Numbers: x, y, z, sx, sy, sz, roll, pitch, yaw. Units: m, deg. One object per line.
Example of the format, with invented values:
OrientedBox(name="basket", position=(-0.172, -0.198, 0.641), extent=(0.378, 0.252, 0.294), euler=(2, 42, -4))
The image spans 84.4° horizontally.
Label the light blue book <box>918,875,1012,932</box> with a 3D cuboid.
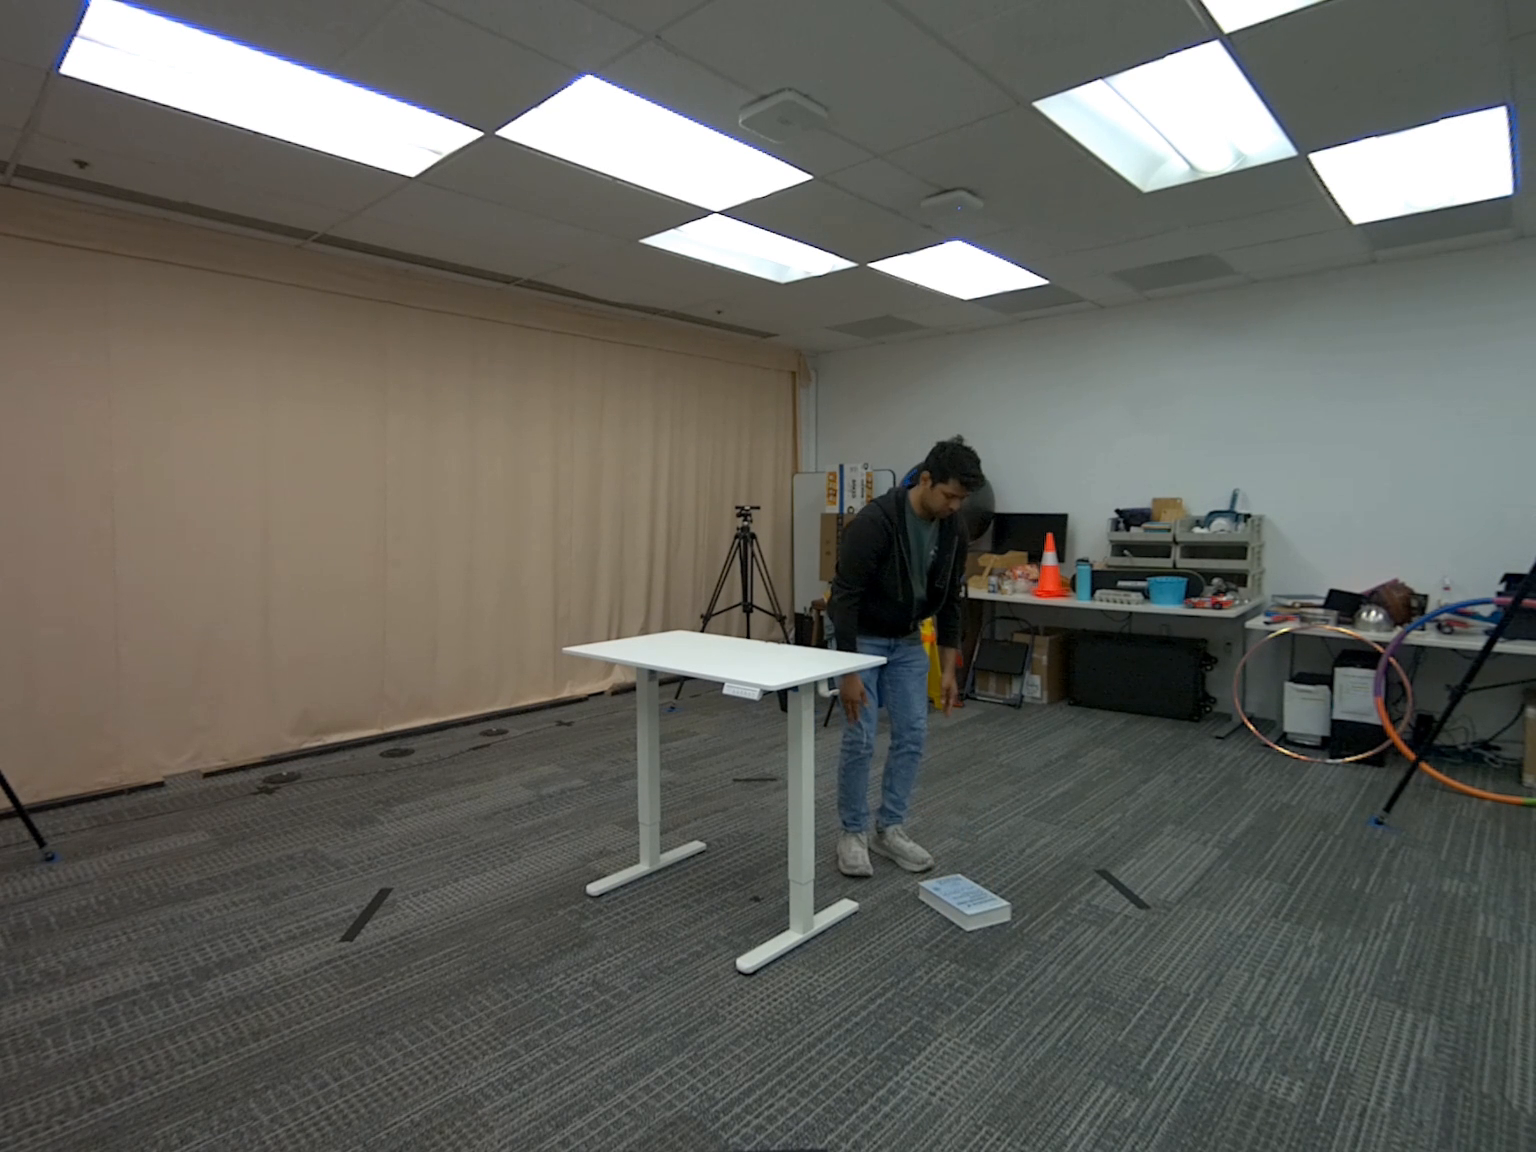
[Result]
OrientedBox(name="light blue book", position=(0.670, 1.114, 2.902), extent=(0.187, 0.059, 0.268), euler=(-3, 5, -26))
